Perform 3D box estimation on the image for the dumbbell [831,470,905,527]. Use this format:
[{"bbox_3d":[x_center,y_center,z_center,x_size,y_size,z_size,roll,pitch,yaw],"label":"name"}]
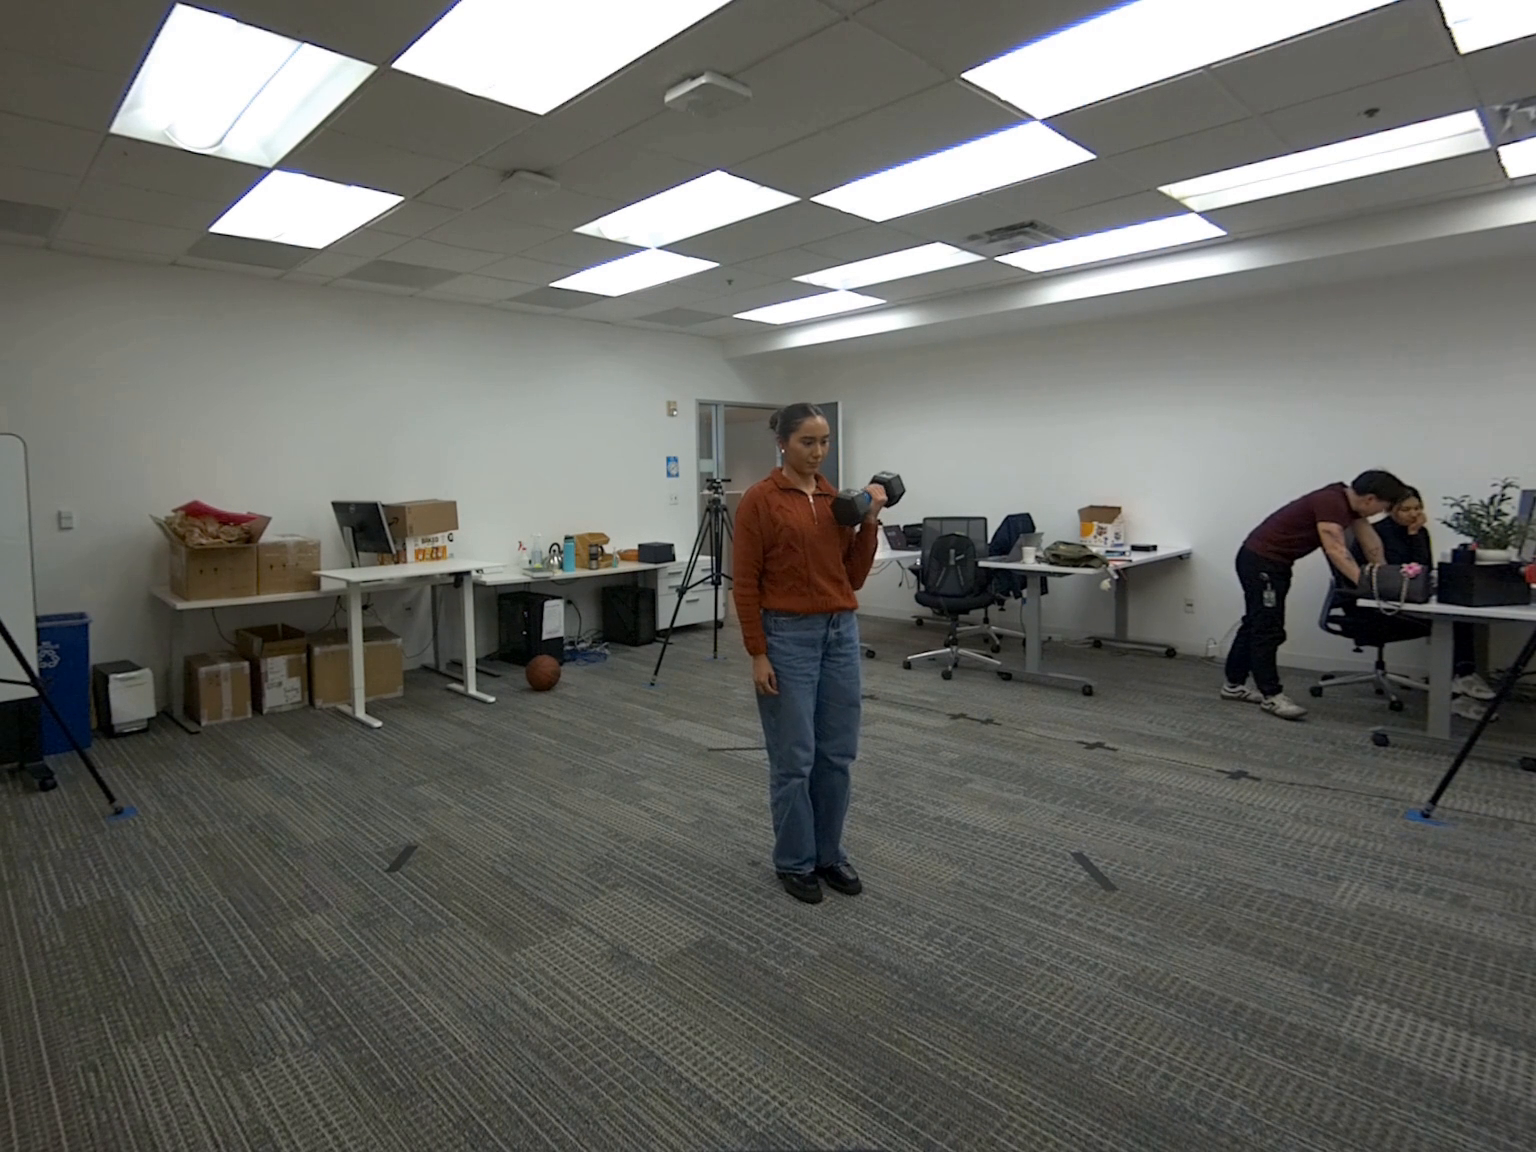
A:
[{"bbox_3d":[0.328,-0.255,2.842,0.110,0.122,0.289,-21,6,46],"label":"dumbbell"}]
